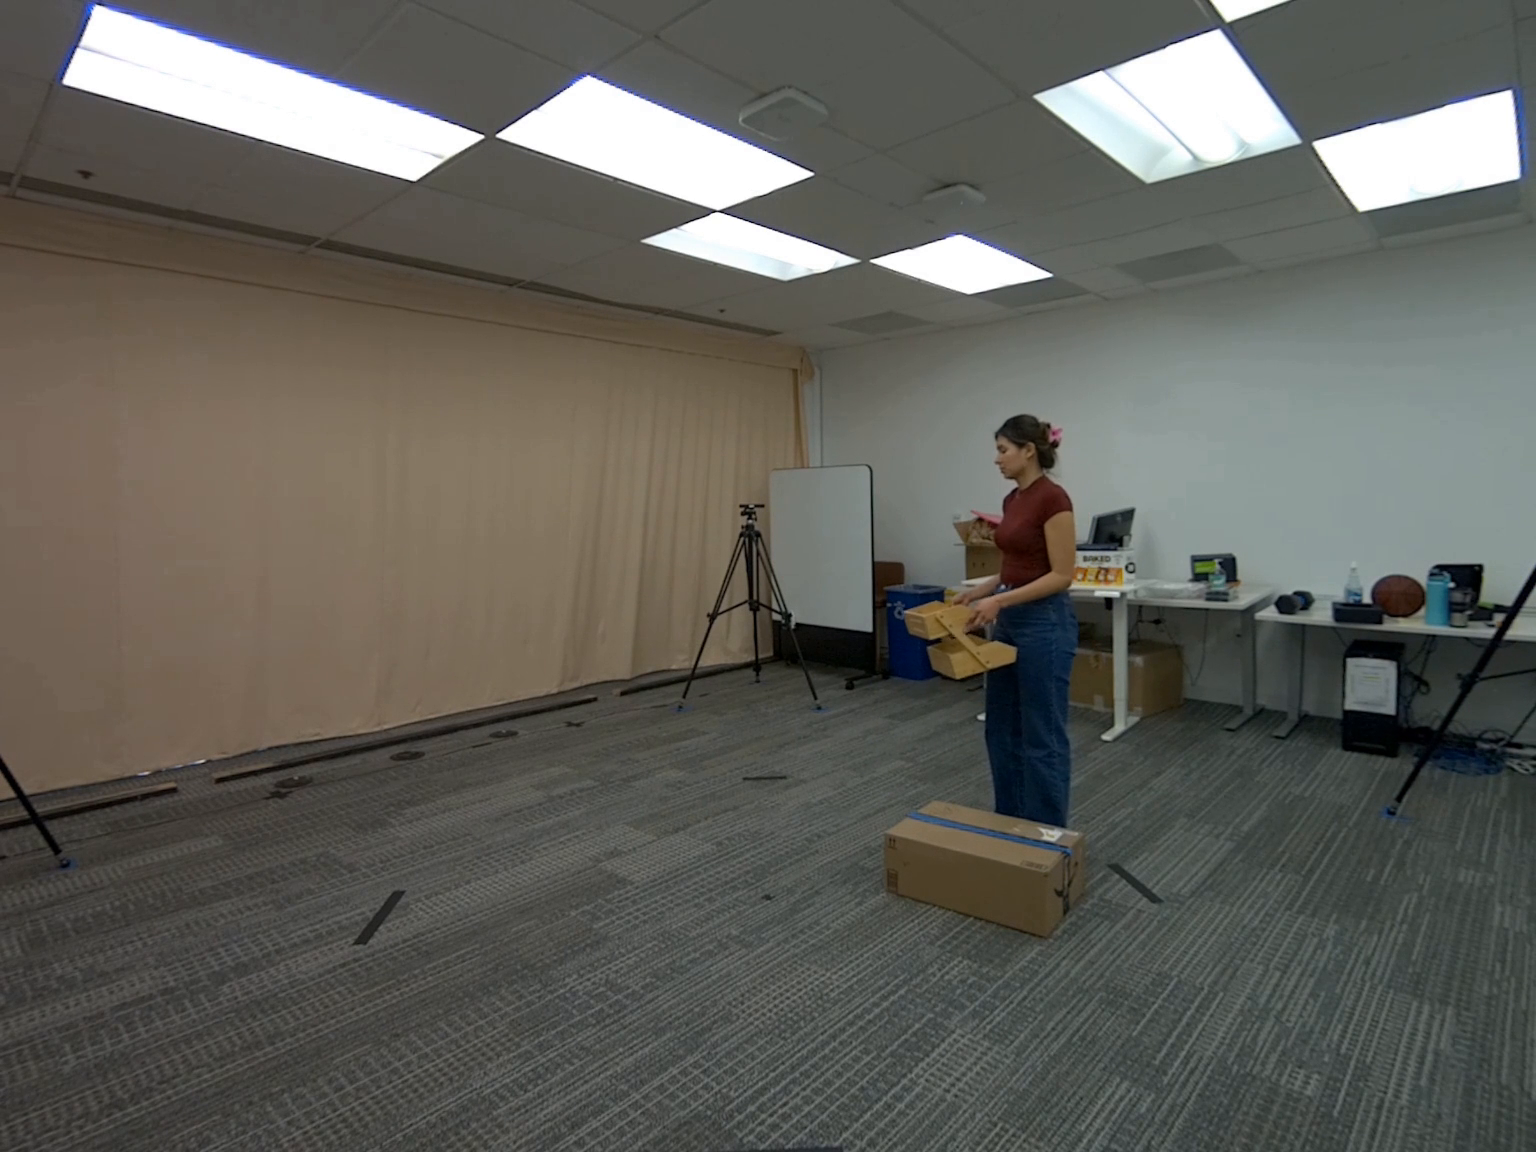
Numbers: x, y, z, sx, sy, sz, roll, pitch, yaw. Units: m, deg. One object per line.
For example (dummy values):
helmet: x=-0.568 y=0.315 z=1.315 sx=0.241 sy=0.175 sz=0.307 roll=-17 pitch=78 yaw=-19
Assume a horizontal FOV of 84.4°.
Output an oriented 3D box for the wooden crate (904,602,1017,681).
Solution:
wooden crate: x=0.763 y=0.231 z=3.277 sx=0.301 sy=0.273 sz=0.325 roll=-16 pitch=1 yaw=-4
